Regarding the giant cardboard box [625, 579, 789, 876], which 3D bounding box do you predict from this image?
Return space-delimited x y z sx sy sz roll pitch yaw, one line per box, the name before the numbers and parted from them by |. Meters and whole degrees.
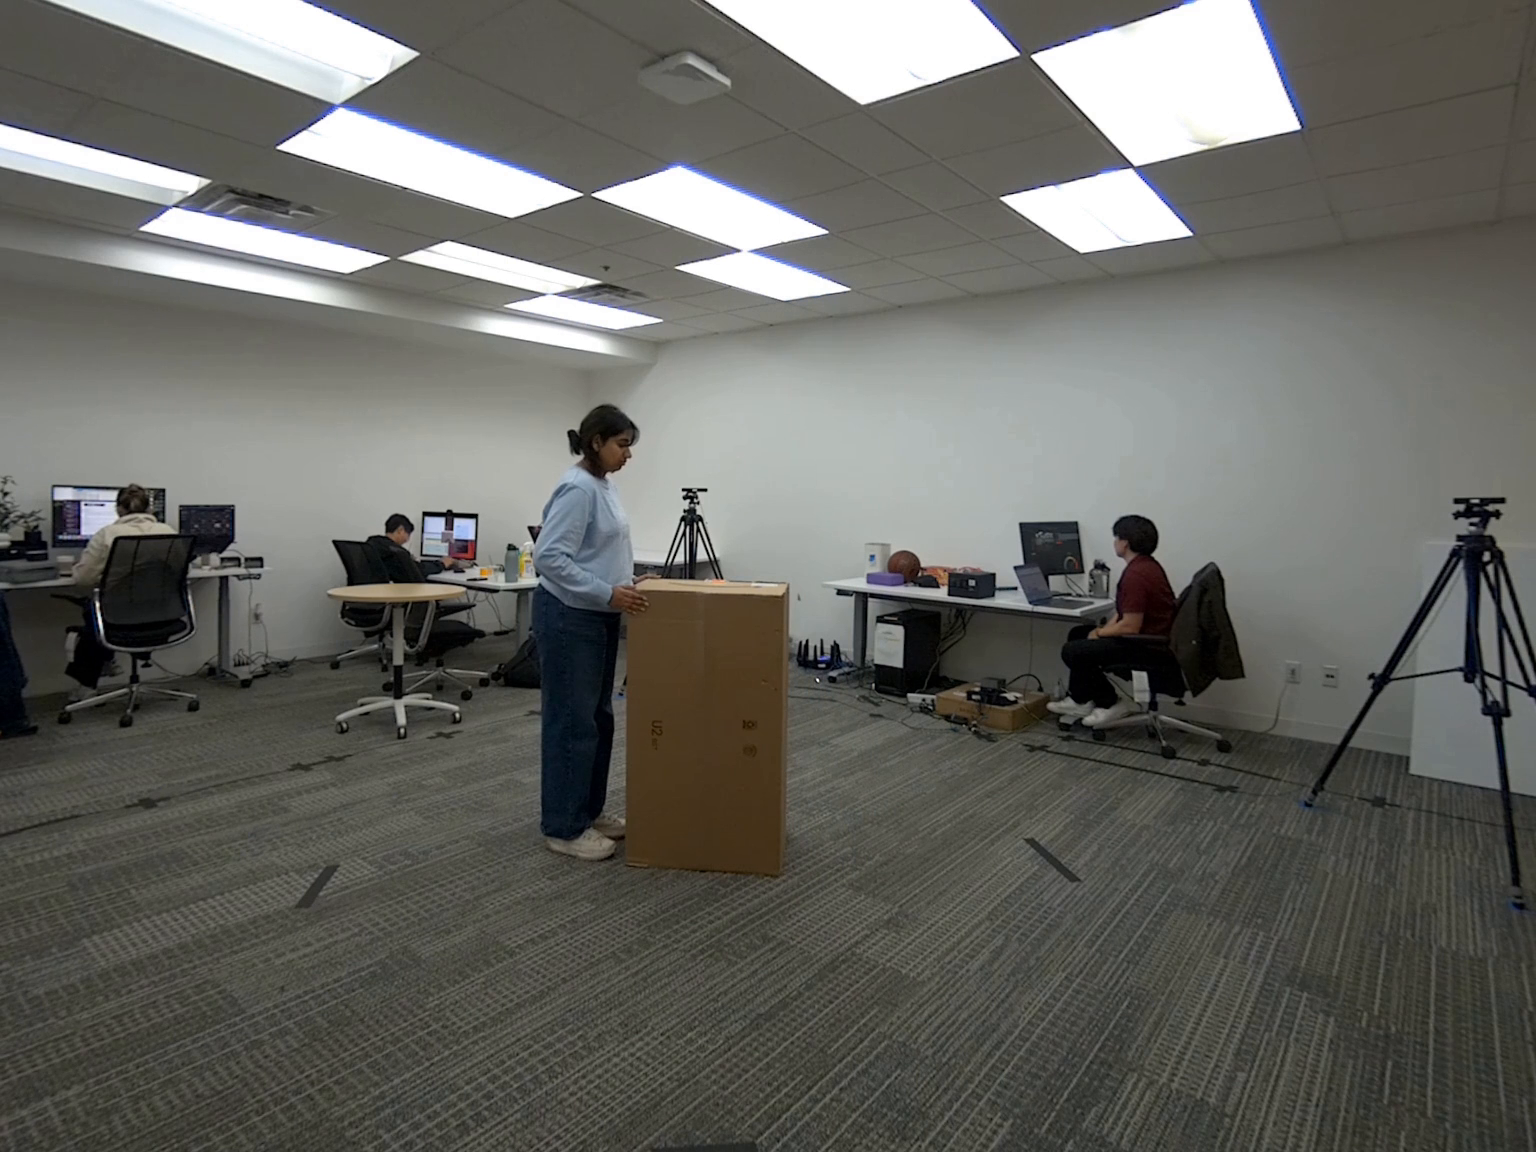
giant cardboard box | -0.225 0.546 3.274 0.582 1.023 0.424 1 3 6
